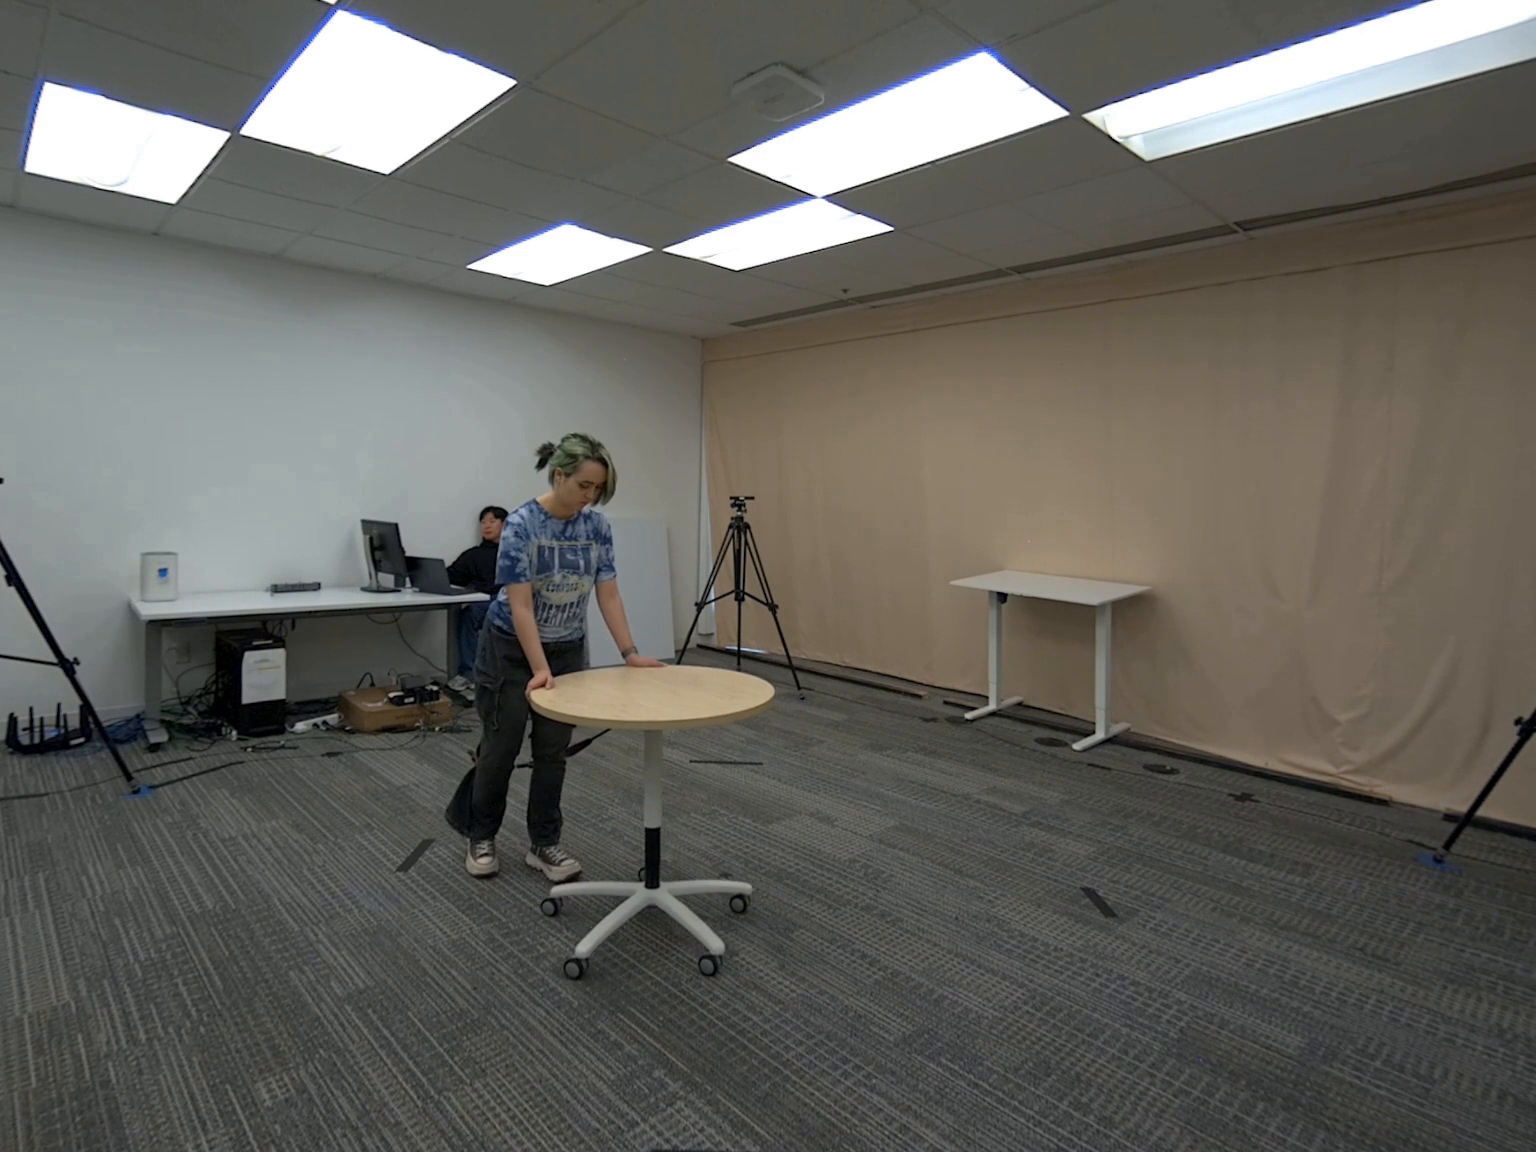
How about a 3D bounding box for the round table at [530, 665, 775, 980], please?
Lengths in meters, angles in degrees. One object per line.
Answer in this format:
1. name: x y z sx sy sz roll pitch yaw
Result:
1. round table: -0.378 0.752 2.678 0.763 0.792 0.766 1 4 -1
